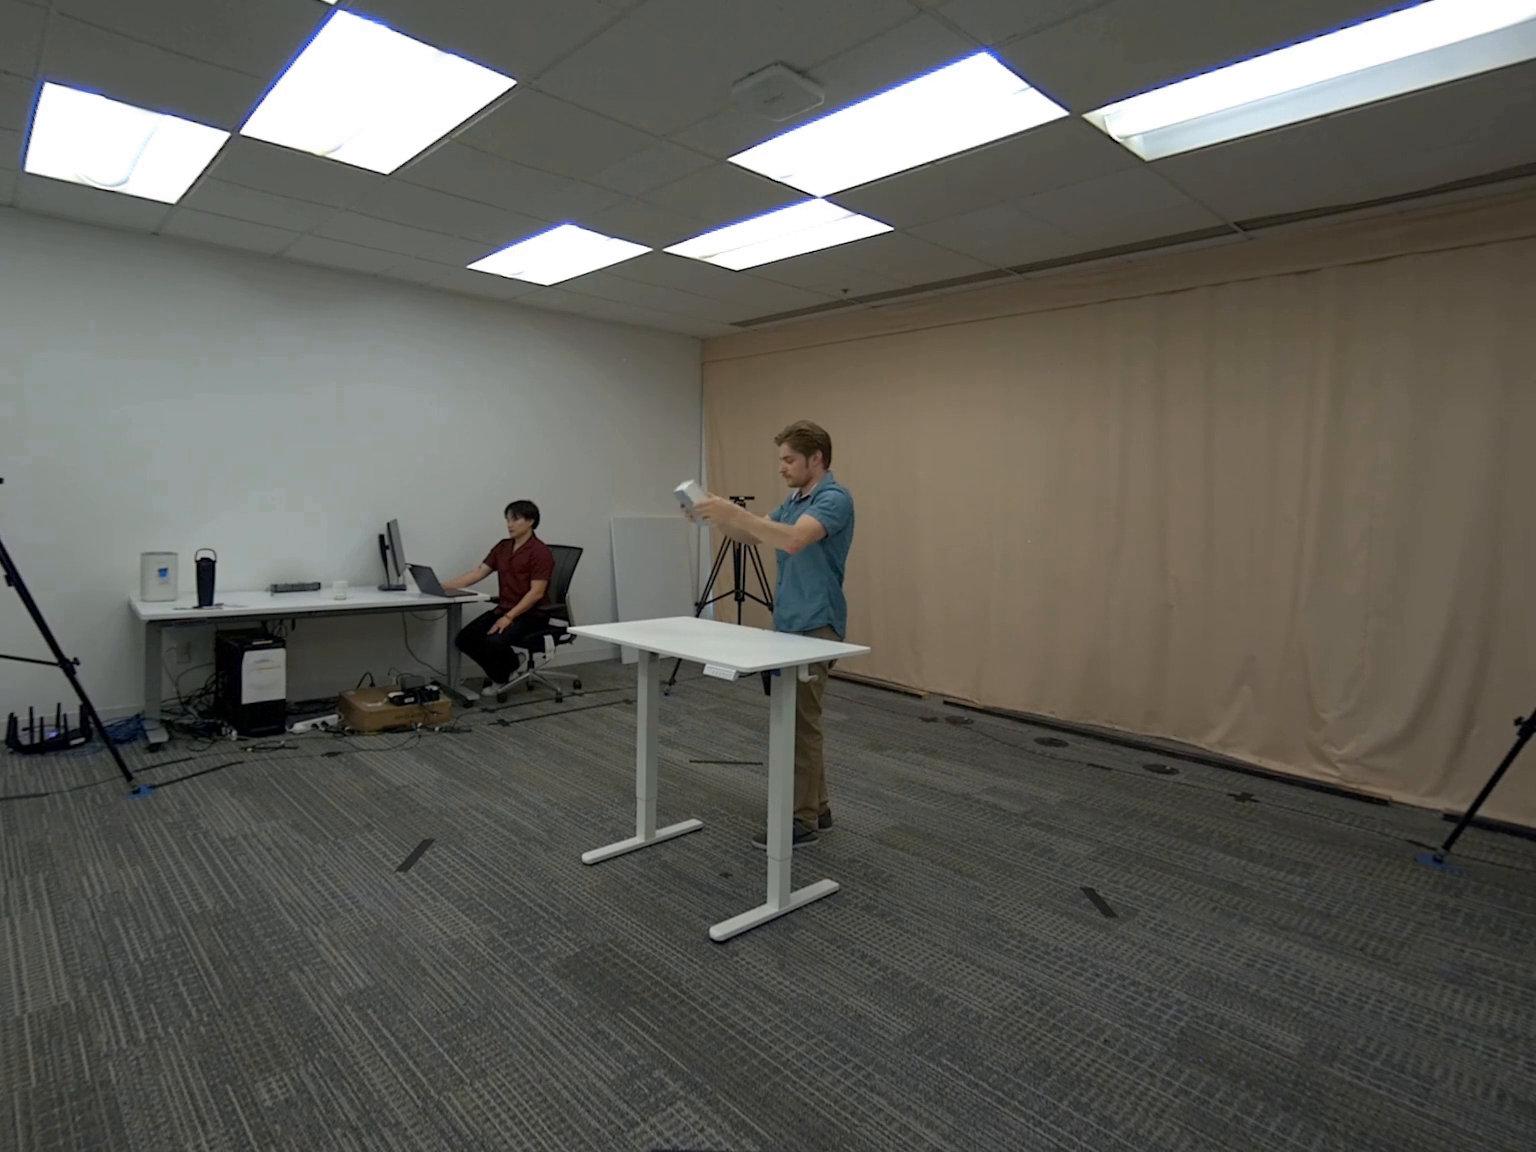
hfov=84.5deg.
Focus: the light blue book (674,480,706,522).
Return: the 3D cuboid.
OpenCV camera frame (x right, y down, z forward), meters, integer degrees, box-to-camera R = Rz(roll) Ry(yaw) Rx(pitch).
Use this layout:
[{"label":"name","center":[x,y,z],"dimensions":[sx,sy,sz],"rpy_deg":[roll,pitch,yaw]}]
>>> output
[{"label":"light blue book","center":[-0.270,-0.284,3.291],"dimensions":[0.059,0.189,0.264],"rpy_deg":[-40,12,-8]}]
